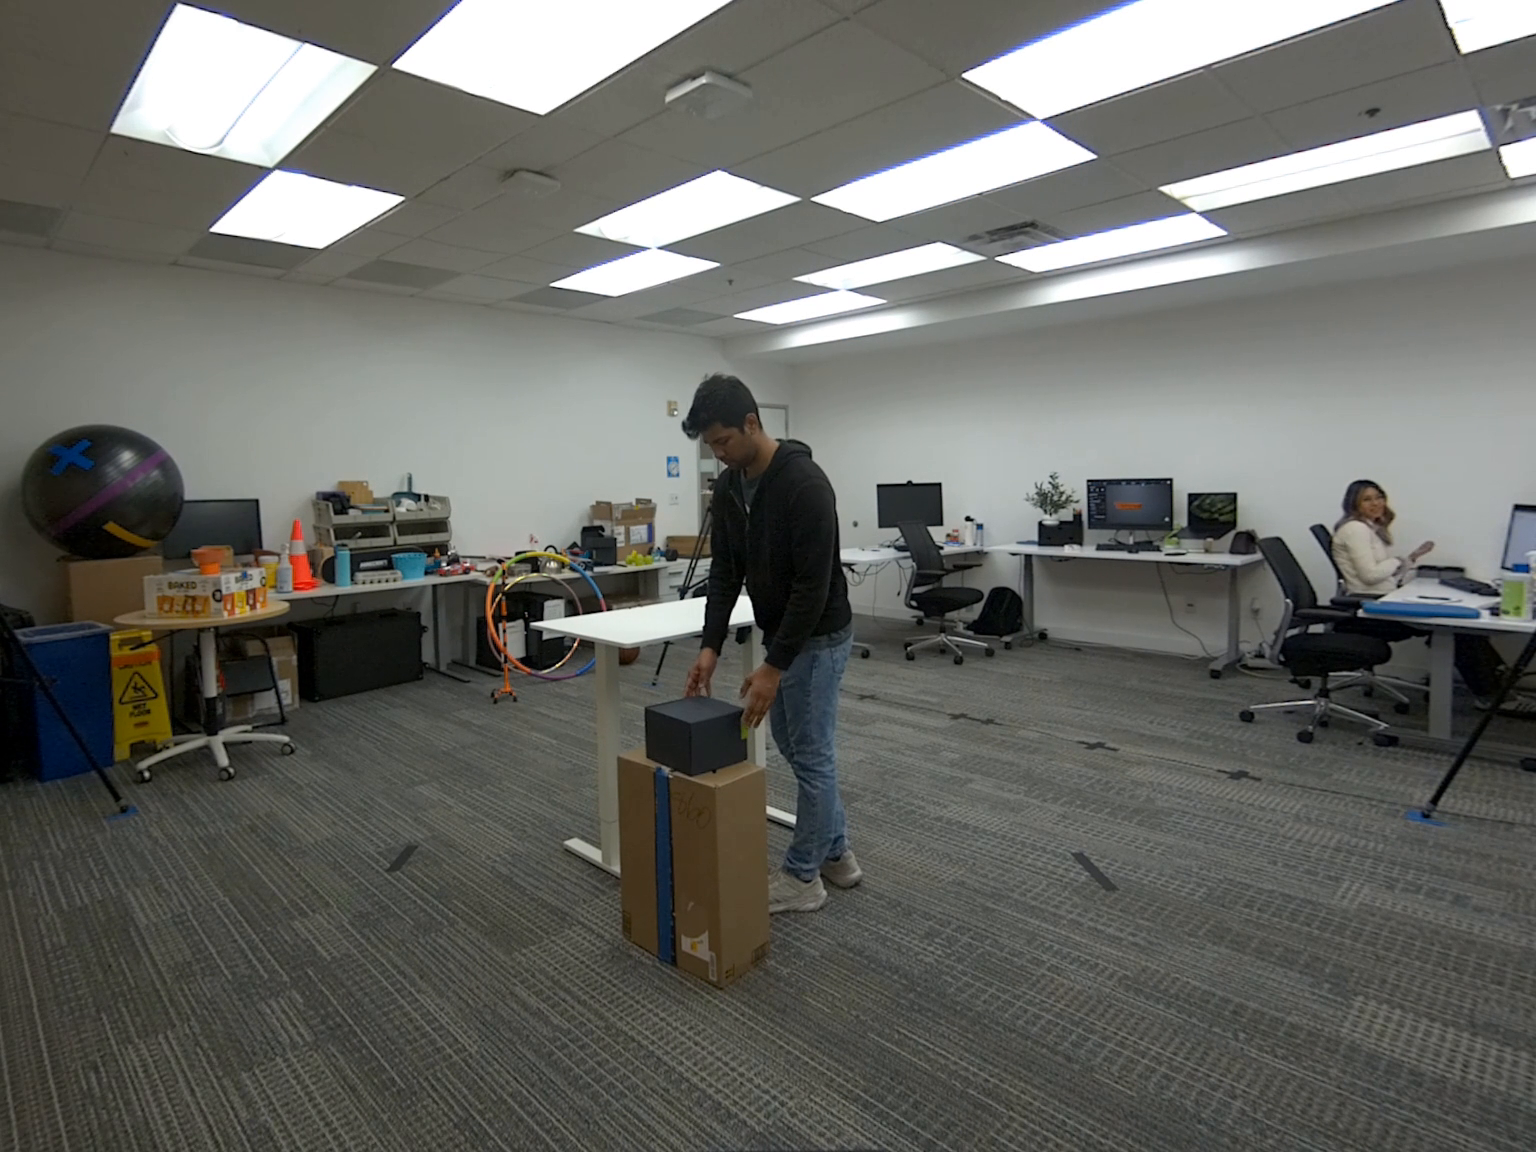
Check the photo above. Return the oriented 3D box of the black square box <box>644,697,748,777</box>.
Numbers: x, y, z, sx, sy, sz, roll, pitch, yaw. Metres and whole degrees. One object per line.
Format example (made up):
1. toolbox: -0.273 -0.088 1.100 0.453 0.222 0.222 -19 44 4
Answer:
1. black square box: -0.213 0.470 2.544 0.211 0.155 0.235 -5 7 -42
